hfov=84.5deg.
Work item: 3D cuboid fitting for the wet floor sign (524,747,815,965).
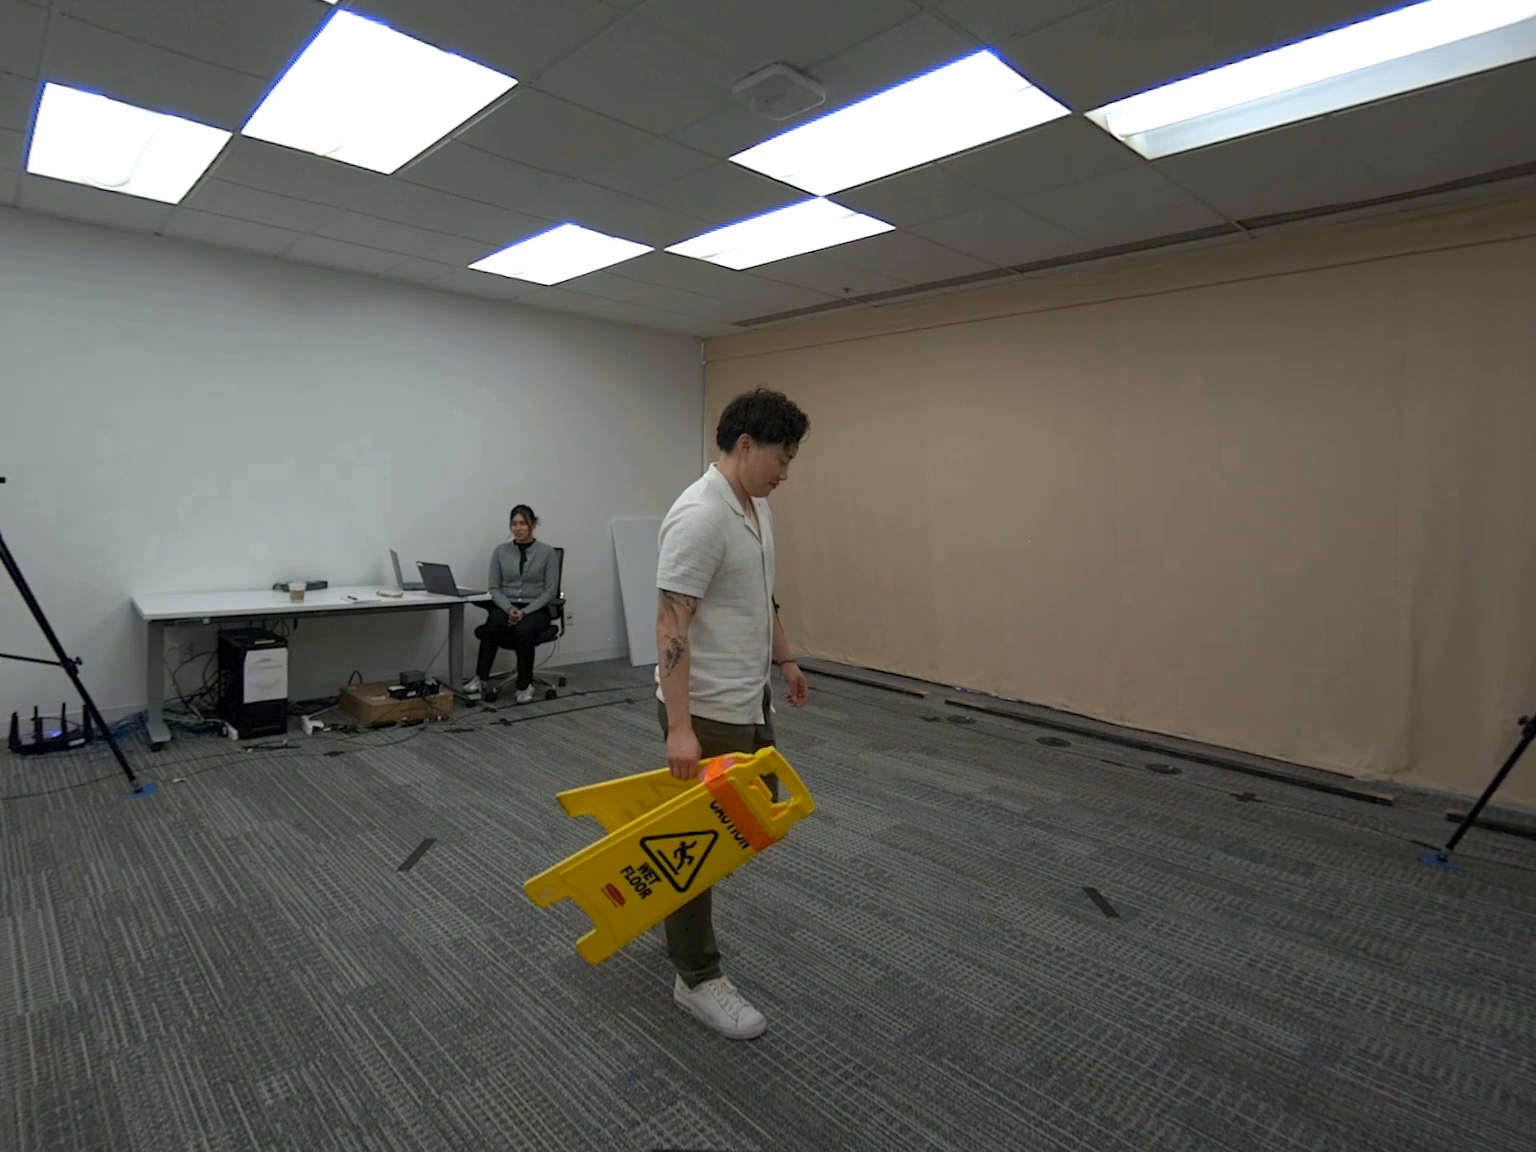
[{"bbox_3d":[-0.218,0.603,1.997,0.649,0.277,0.294,-28,21,15],"label":"wet floor sign"}]
